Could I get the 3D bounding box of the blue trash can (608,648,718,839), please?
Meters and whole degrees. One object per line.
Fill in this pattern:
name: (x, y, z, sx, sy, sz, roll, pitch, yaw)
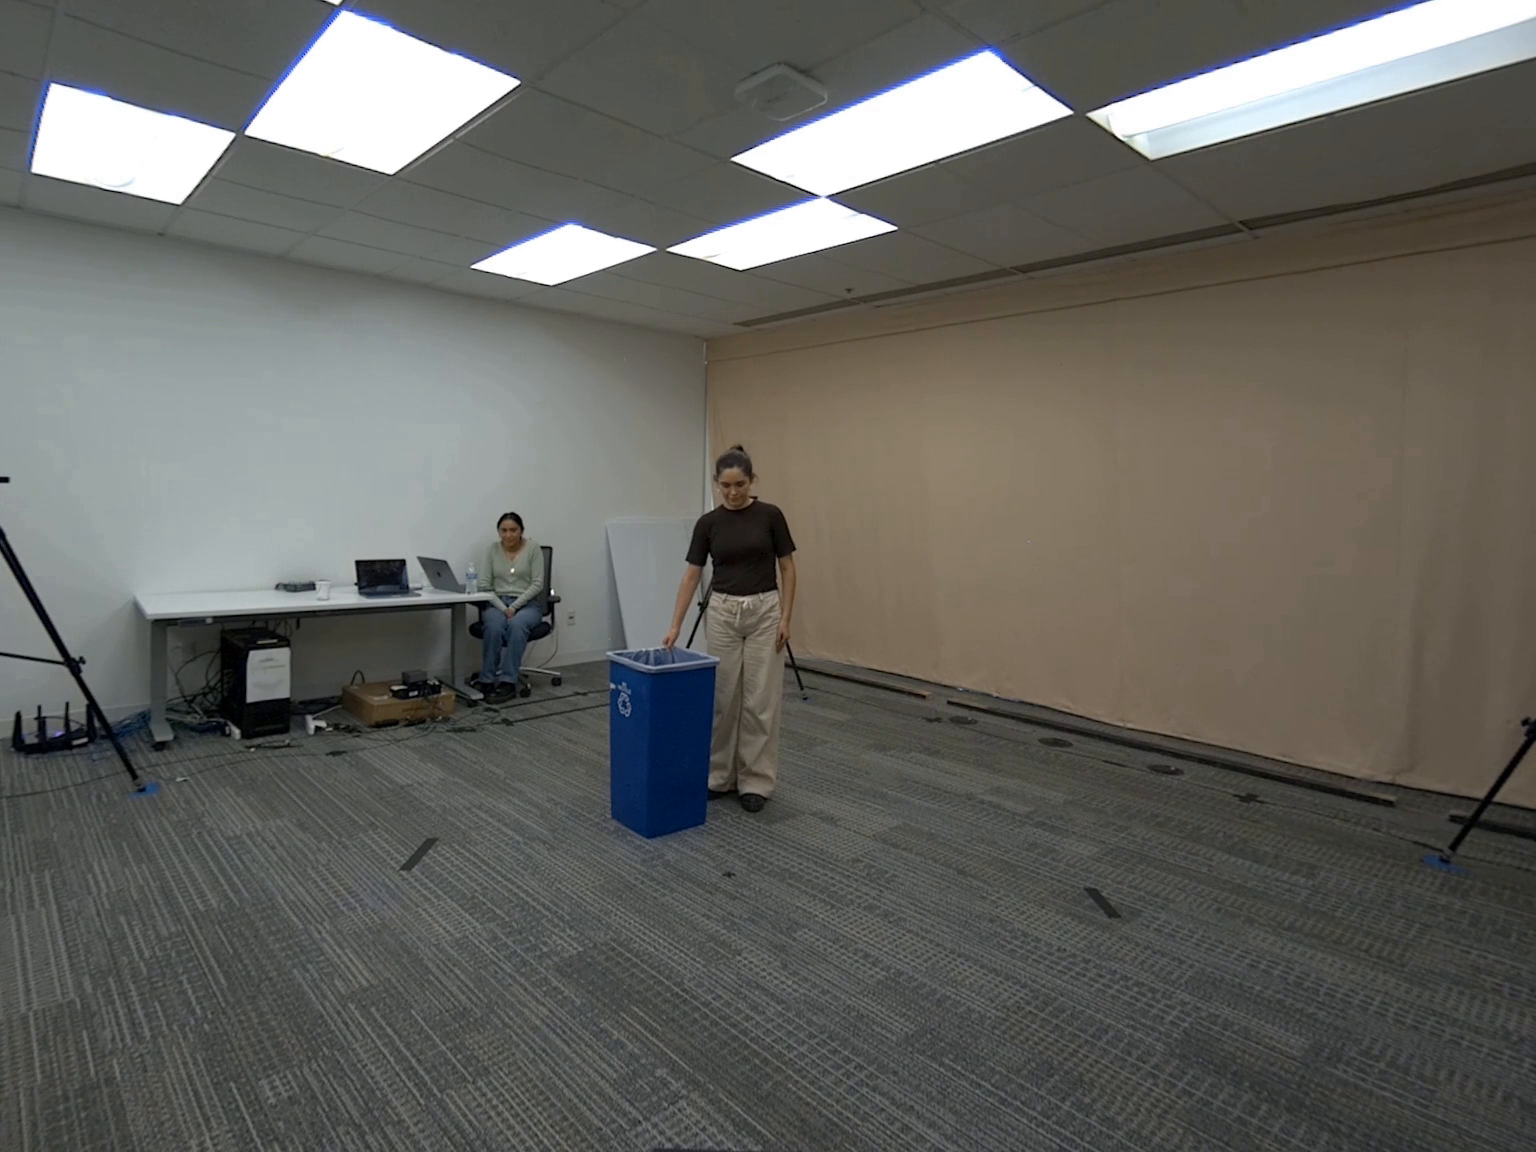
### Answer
blue trash can: (-0.471, 0.694, 3.588, 0.365, 0.712, 0.388, -1, 4, -40)
